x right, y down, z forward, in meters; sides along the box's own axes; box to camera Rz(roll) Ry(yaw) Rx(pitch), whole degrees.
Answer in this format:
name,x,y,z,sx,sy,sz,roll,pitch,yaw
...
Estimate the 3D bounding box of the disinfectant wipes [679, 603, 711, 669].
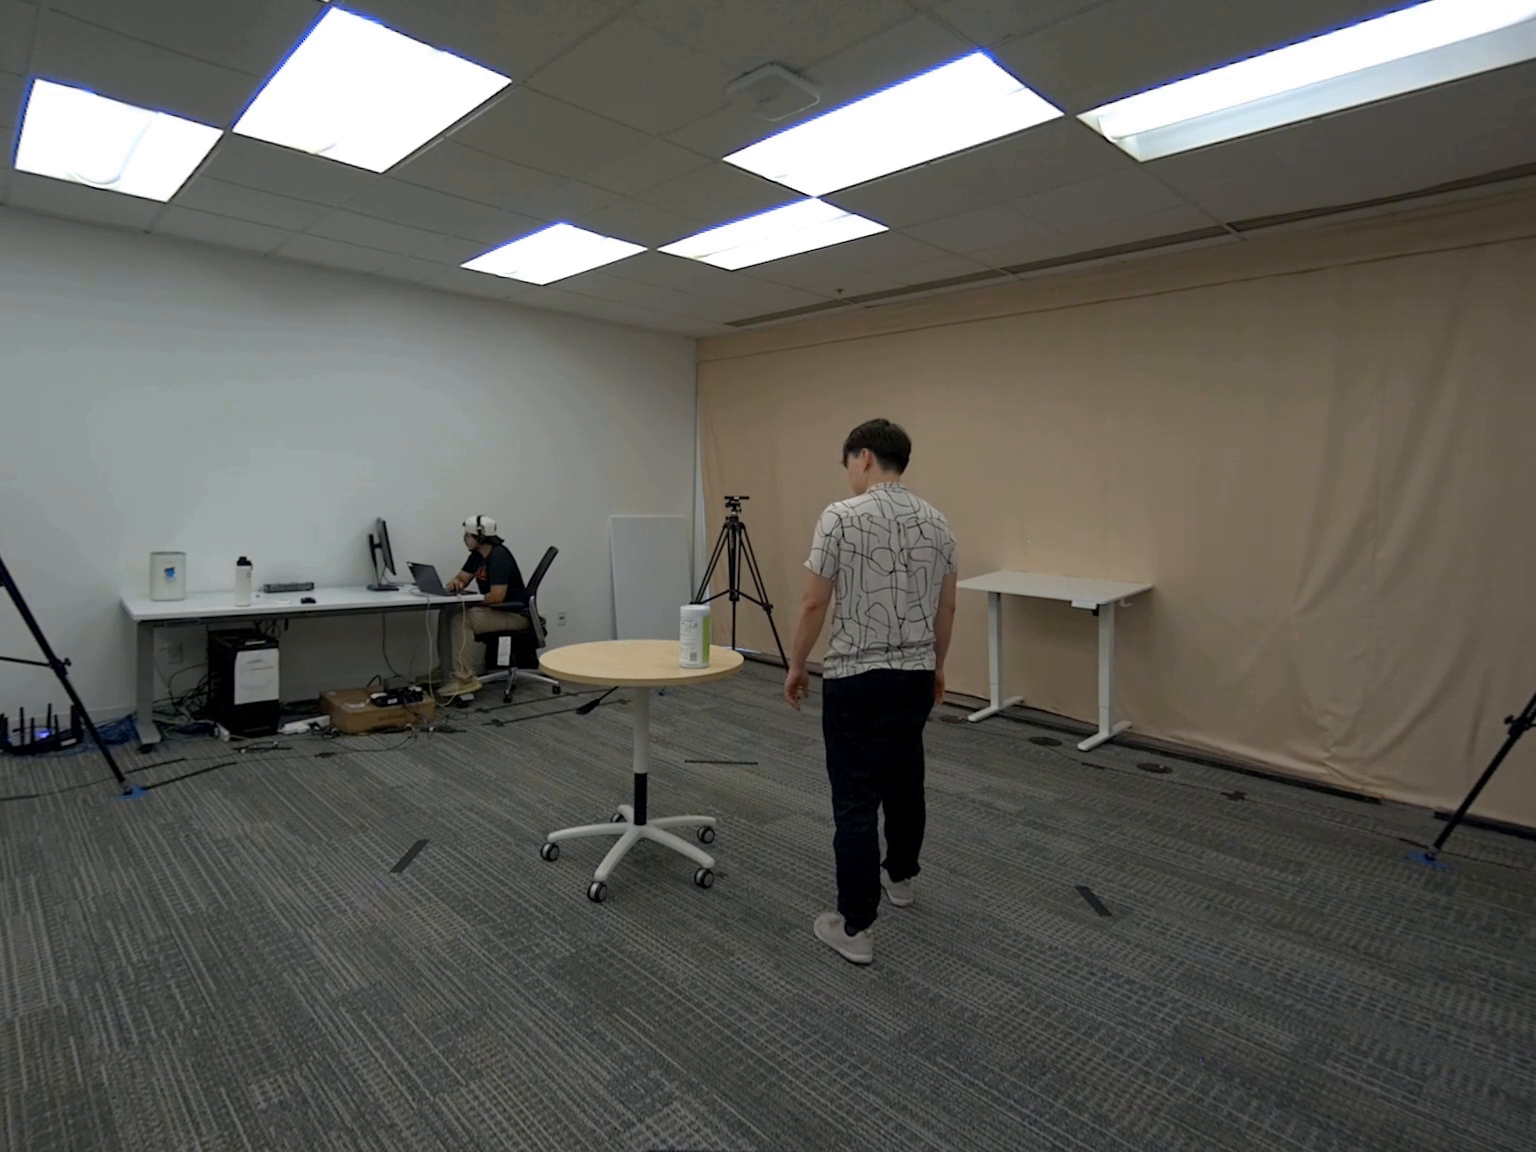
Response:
name,x,y,z,sx,sy,sz,roll,pitch,yaw
disinfectant wipes,-0.269,0.218,3.029,0.118,0.217,0.118,2,3,-2
